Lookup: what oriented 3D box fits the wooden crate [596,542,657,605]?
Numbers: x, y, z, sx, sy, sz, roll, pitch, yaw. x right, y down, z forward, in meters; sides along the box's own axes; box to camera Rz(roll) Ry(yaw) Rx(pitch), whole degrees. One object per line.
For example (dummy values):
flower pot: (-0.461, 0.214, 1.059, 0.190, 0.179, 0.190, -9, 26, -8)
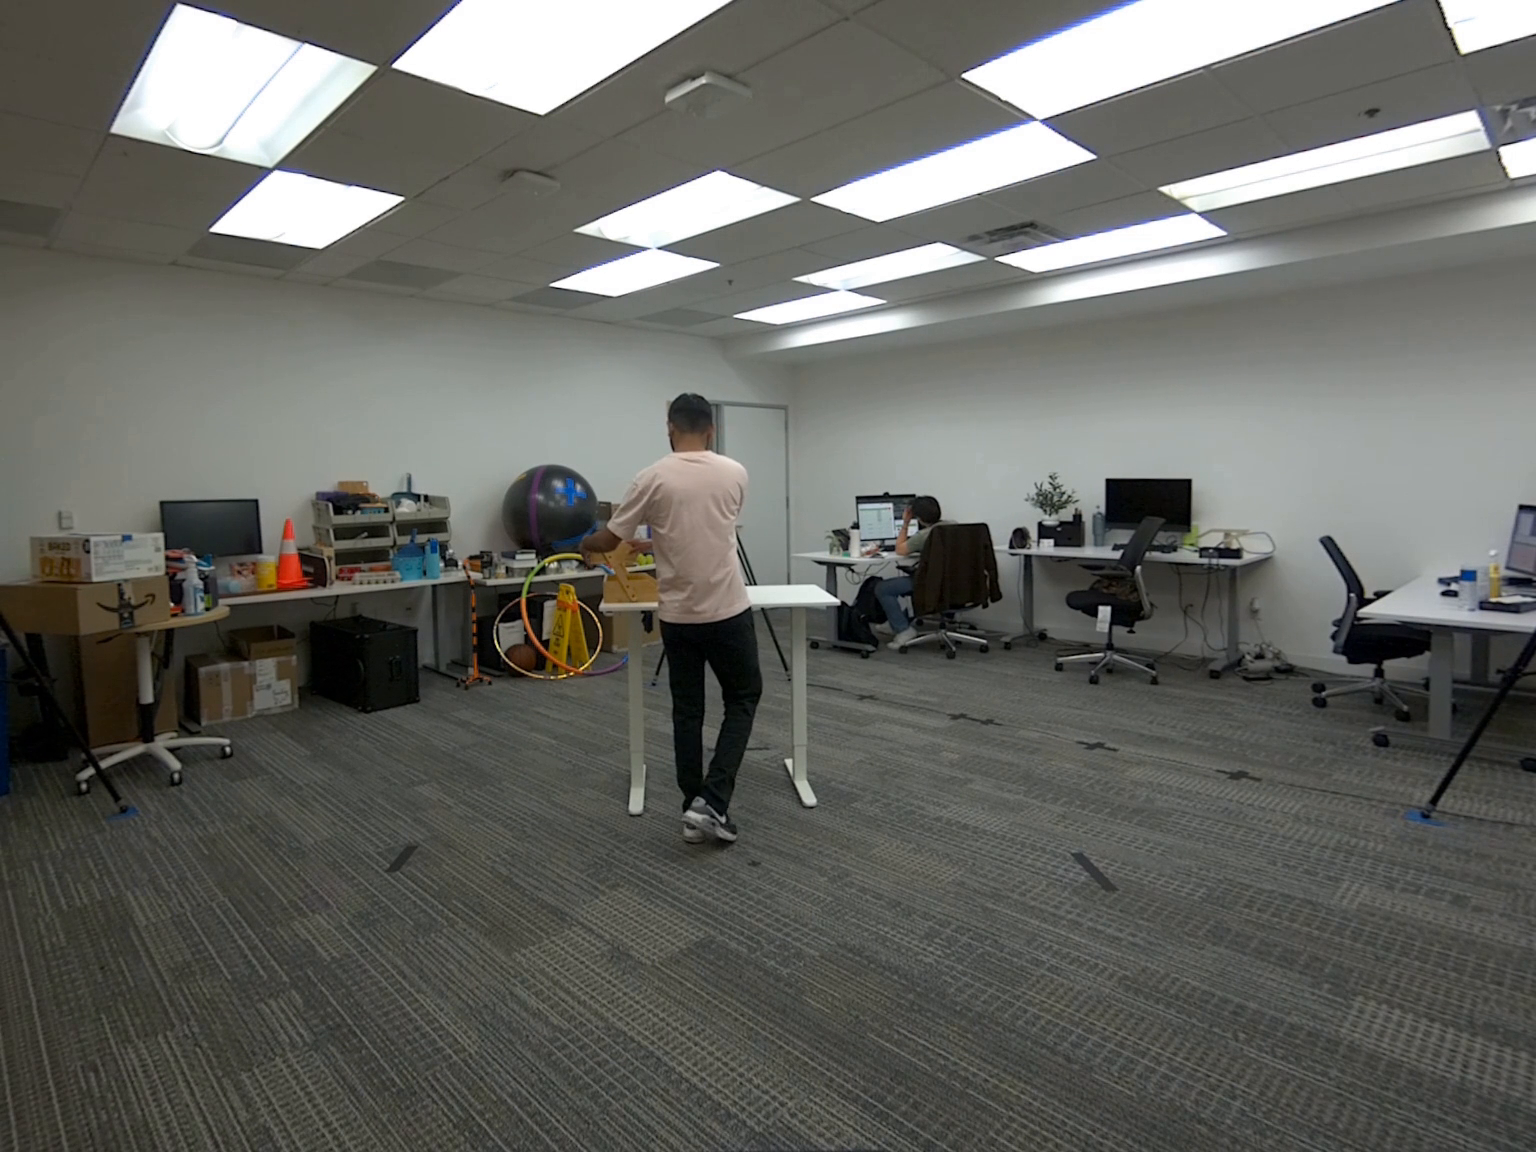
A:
wooden crate: (-0.614, -0.032, 3.768, 0.300, 0.272, 0.327, -4, 4, -7)
